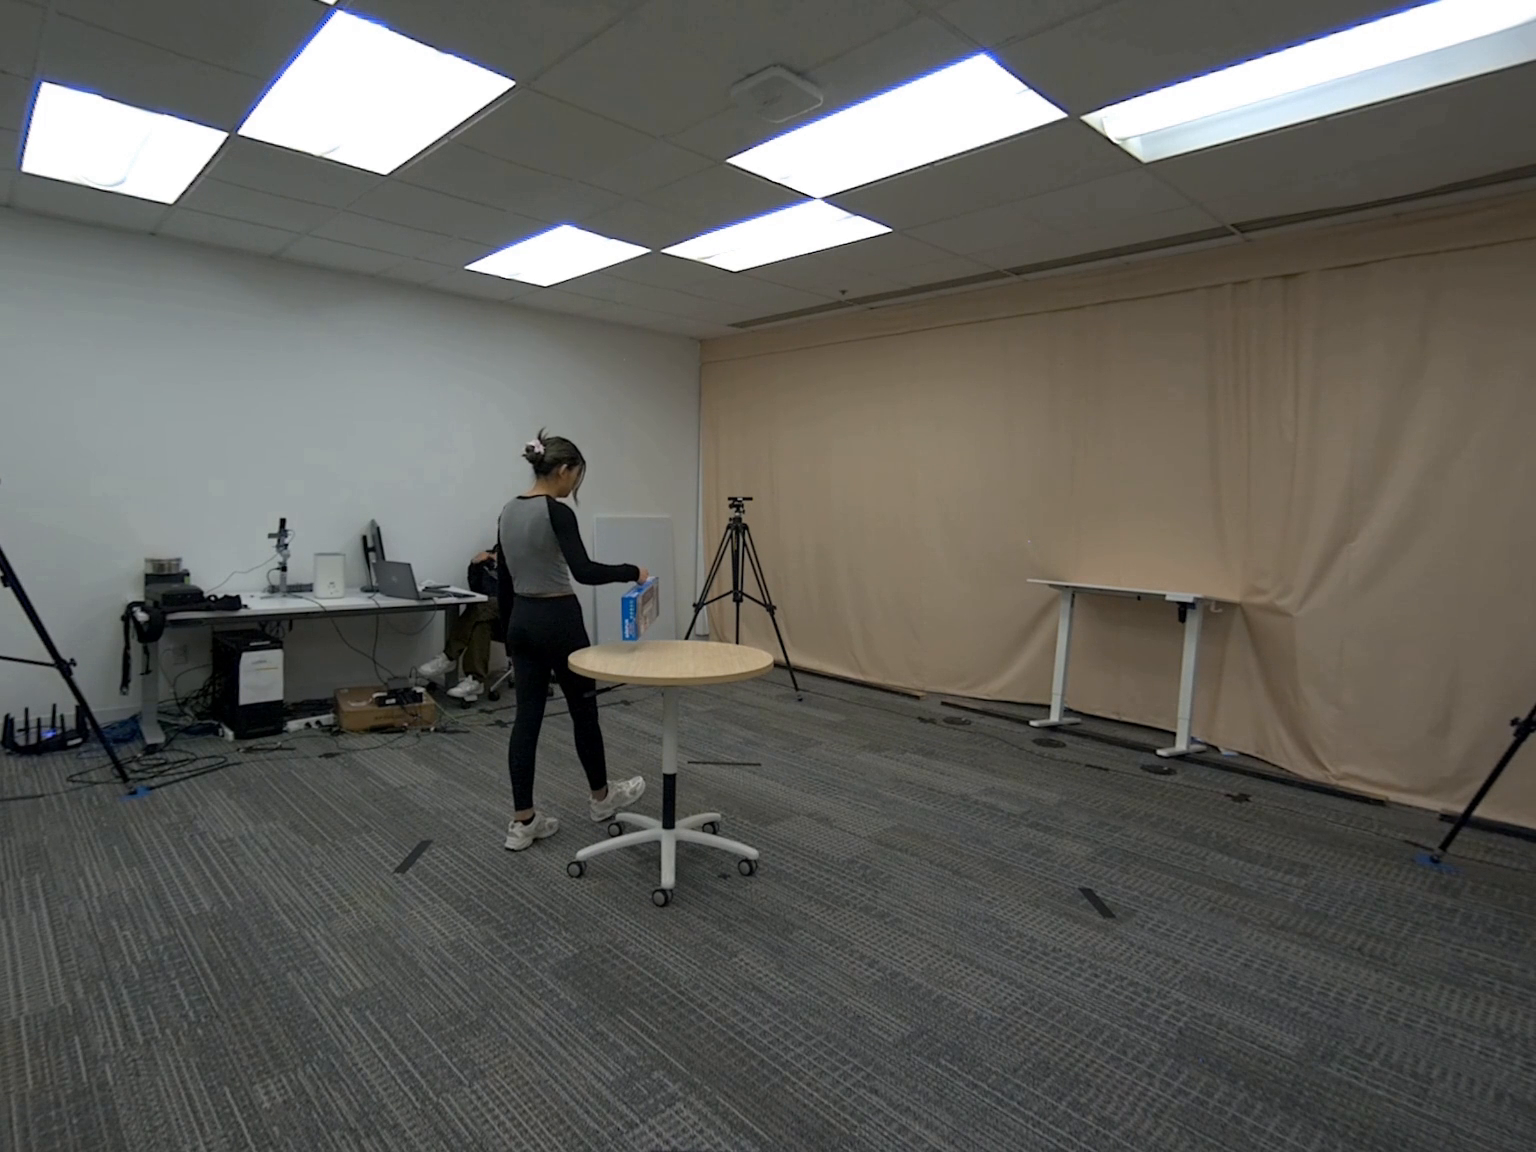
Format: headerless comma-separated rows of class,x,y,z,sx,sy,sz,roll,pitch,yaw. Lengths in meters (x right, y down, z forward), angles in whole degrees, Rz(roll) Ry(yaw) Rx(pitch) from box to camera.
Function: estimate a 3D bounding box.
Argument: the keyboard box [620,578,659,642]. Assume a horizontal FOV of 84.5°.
keyboard box,-0.523,0.126,3.431,0.059,0.175,0.438,-1,10,3
